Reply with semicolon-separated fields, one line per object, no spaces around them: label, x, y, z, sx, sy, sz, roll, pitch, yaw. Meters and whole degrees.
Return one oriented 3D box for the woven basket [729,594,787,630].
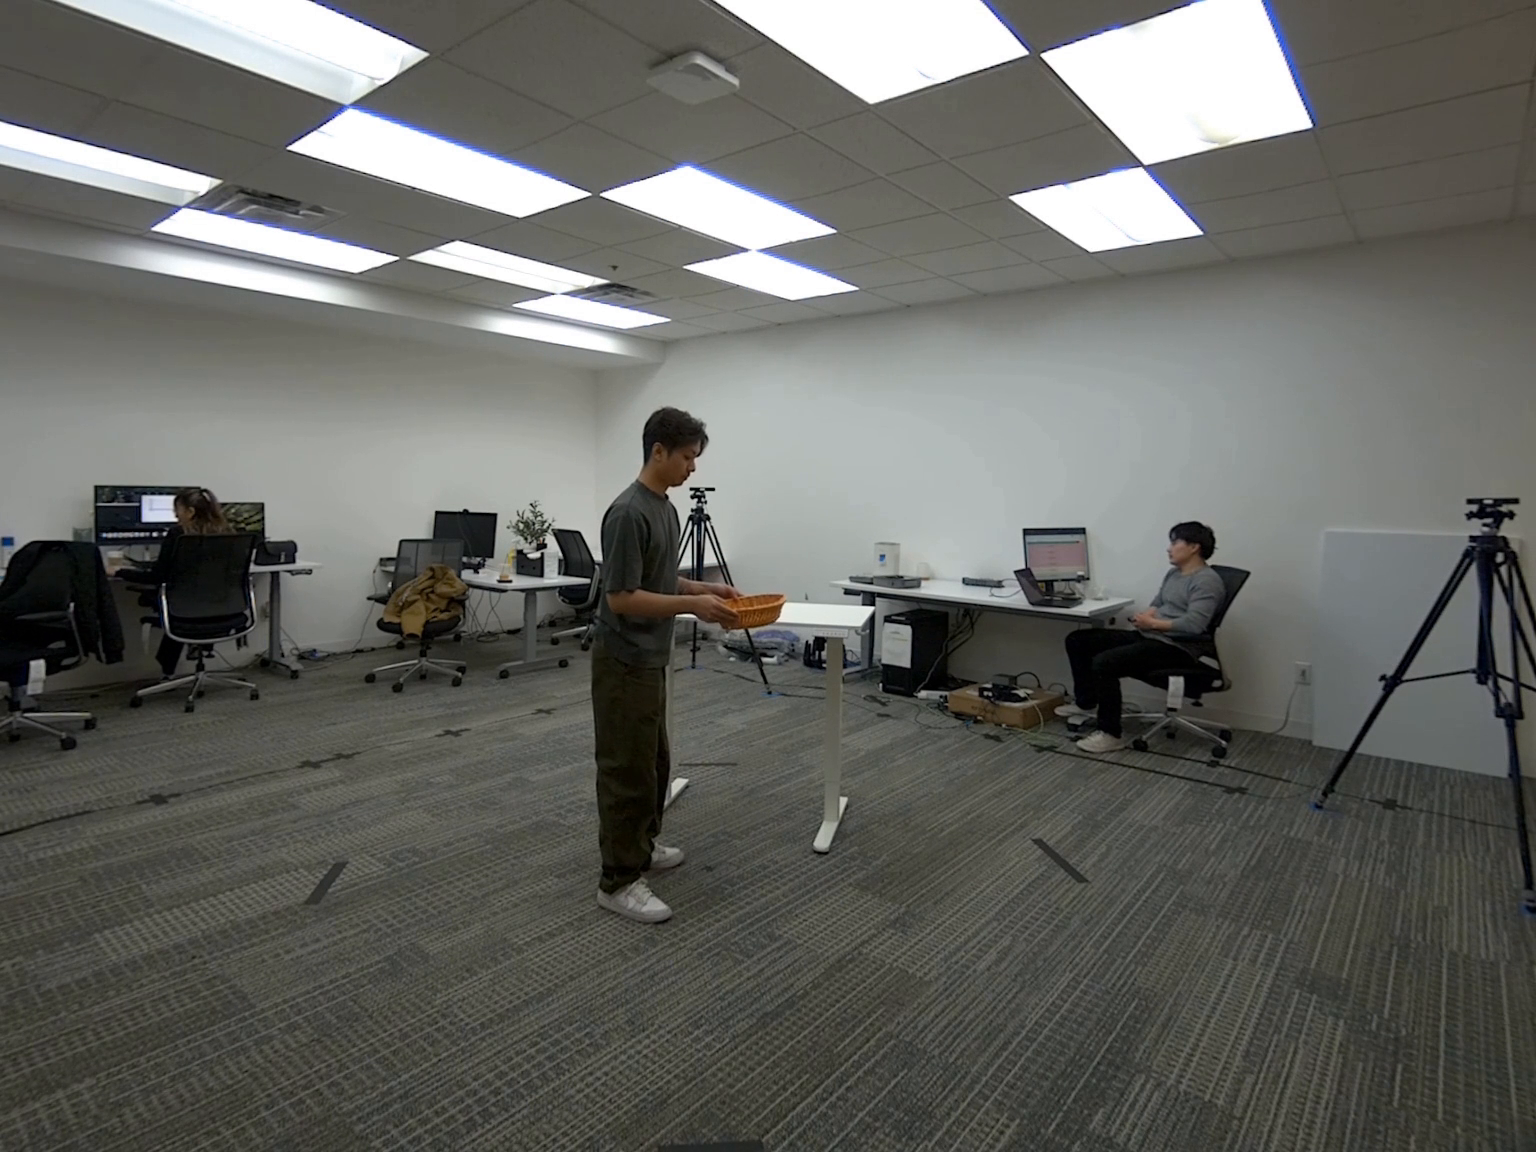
woven basket;-0.102;0.127;2.835;0.260;0.073;0.341;-1;6;33
